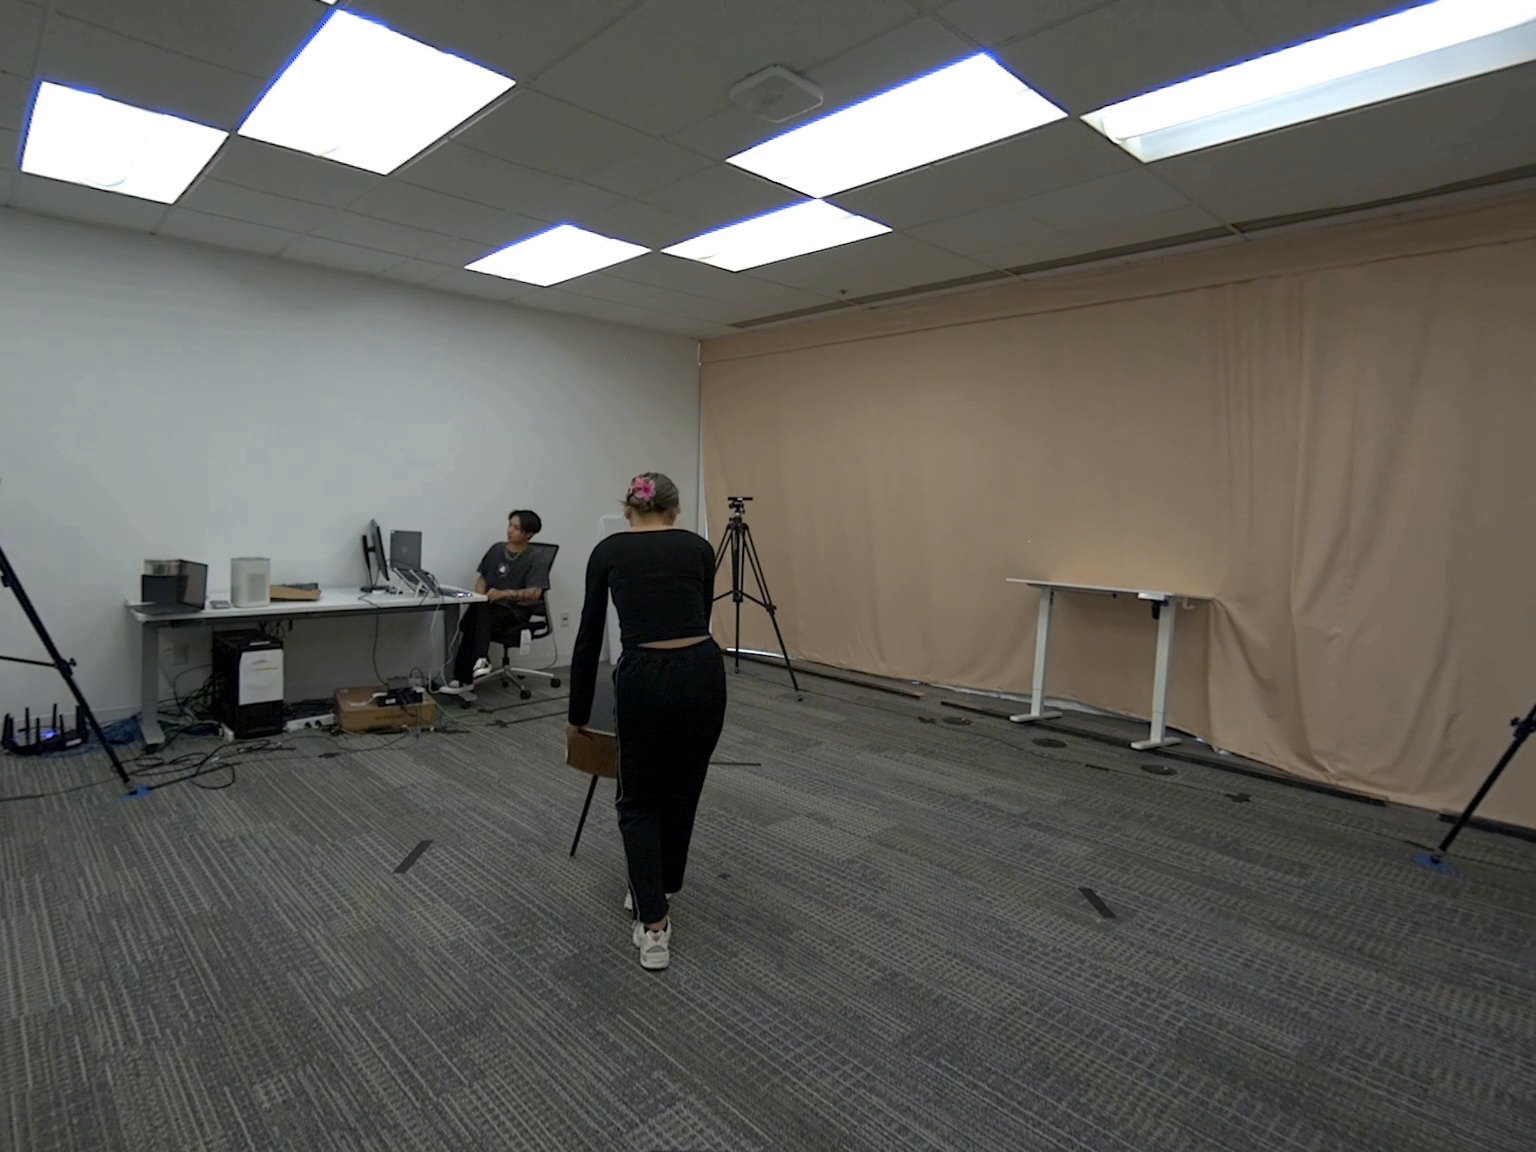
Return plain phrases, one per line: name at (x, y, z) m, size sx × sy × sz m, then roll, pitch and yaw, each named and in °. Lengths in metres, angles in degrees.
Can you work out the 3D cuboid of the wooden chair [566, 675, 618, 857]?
wooden chair at (-0.527, 0.617, 3.168) m, size 0.475 × 0.861 × 0.536 m, roll 1°, pitch 47°, yaw -8°
